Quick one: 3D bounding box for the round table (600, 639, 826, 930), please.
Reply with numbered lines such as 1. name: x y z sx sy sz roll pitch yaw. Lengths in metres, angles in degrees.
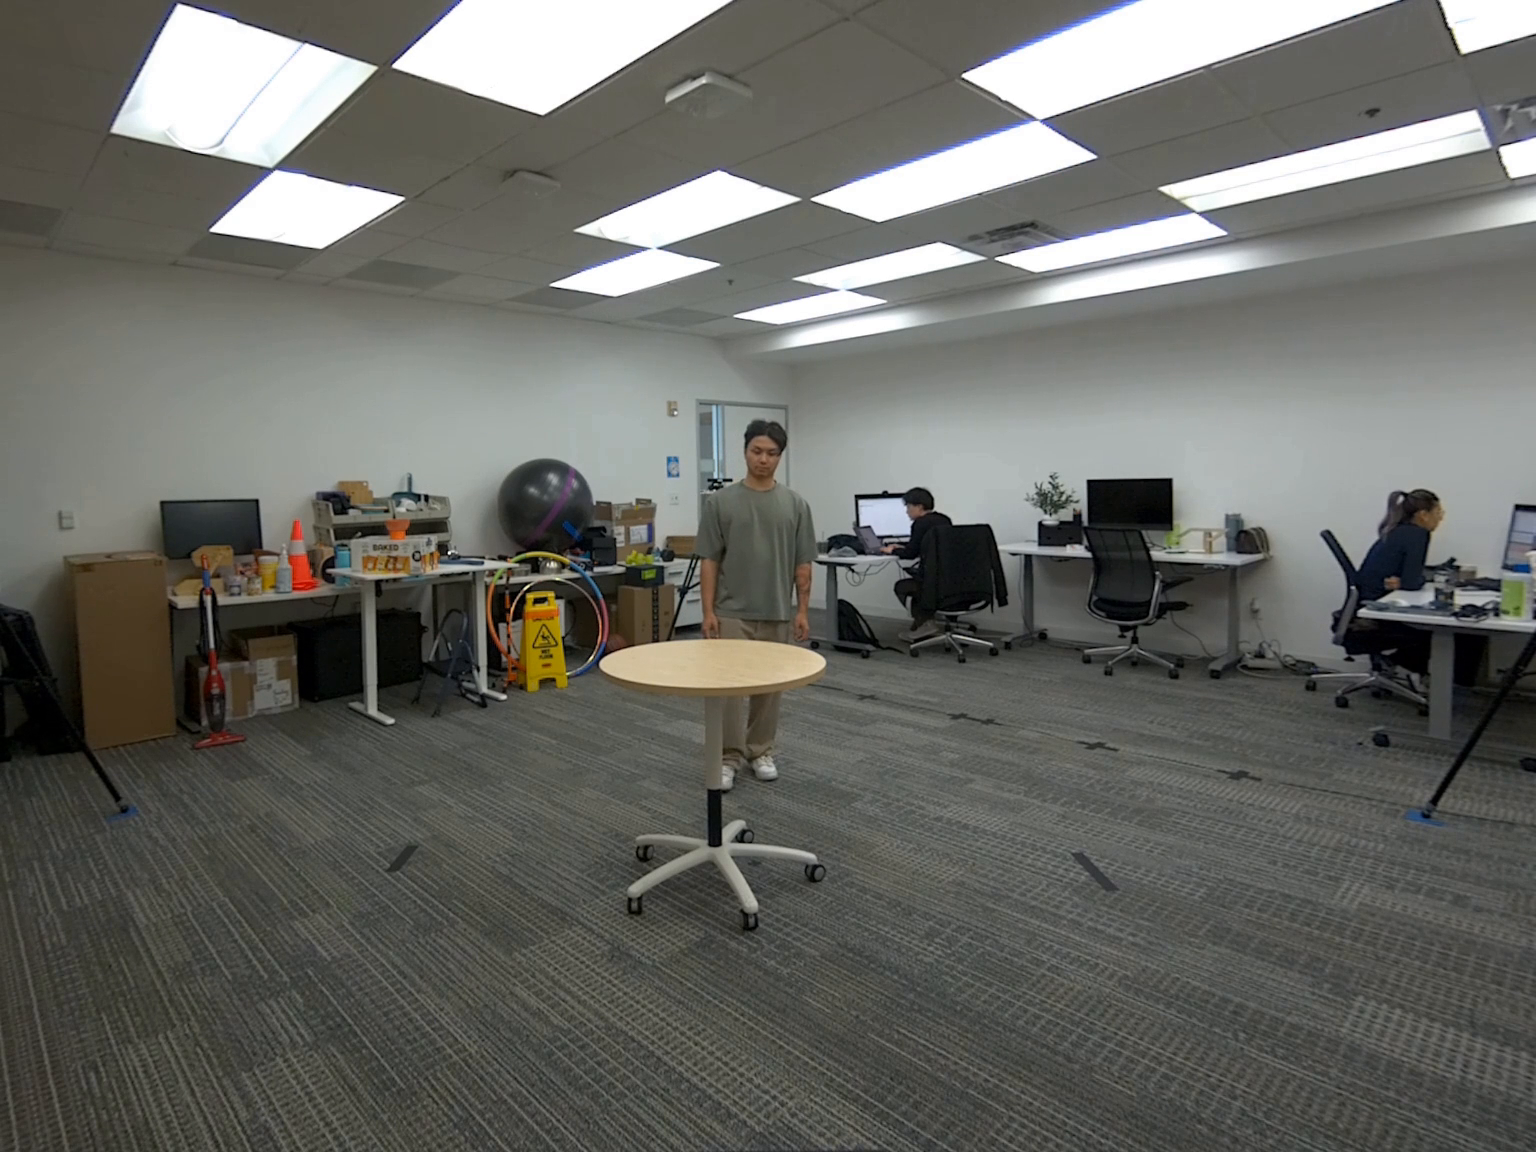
1. round table: -0.195 0.679 2.924 0.784 0.784 0.789 -1 5 -2
